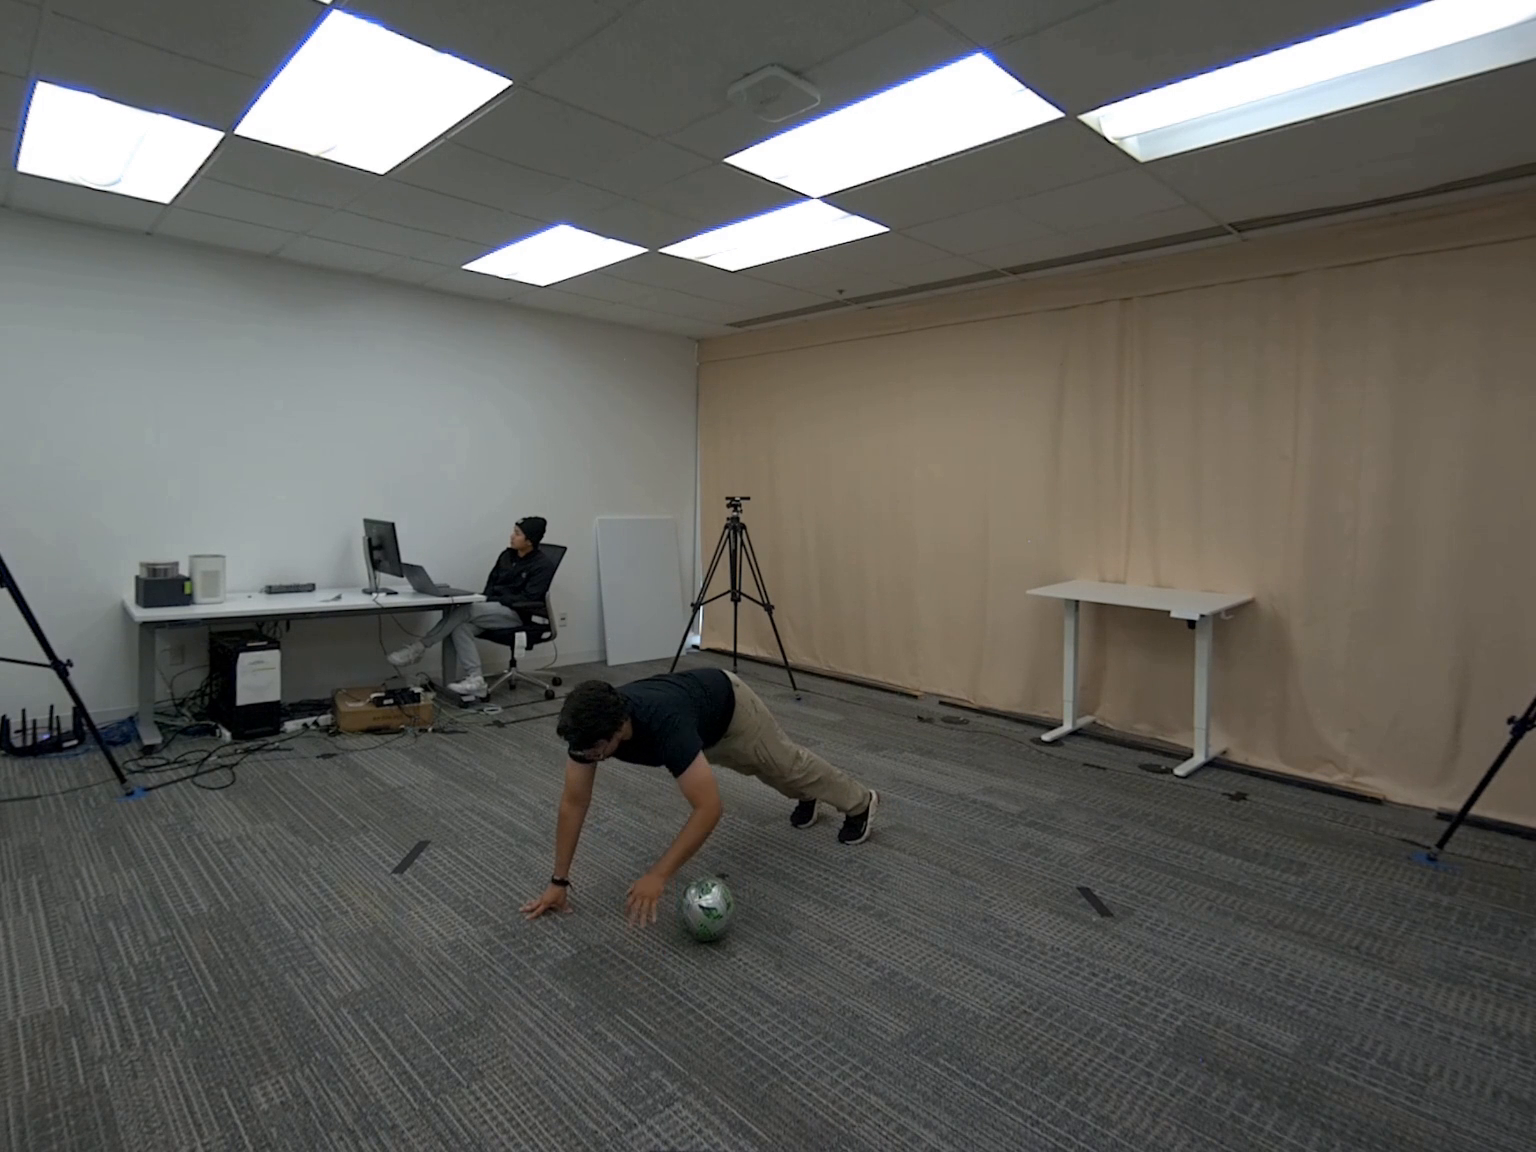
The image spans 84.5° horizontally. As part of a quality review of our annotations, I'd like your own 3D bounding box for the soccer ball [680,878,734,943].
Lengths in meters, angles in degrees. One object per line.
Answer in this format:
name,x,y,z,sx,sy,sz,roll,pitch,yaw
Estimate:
soccer ball,-0.204,1.053,2.654,0.187,0.187,0.188,1,4,-1
